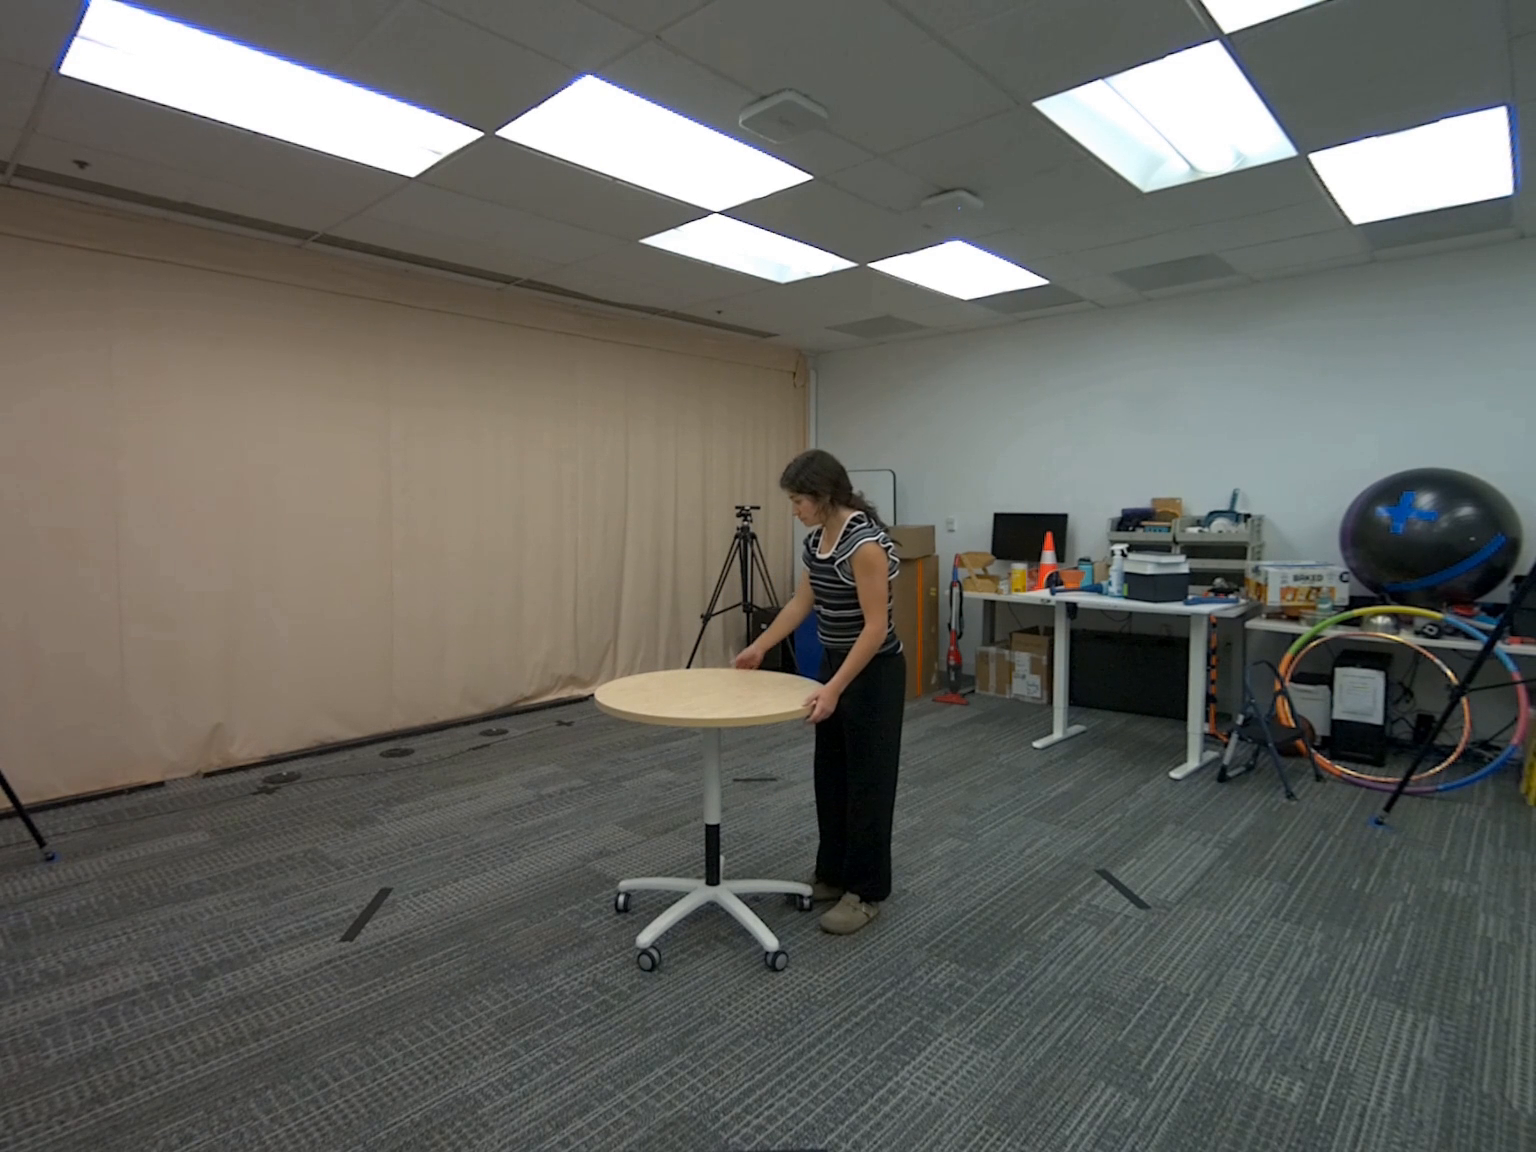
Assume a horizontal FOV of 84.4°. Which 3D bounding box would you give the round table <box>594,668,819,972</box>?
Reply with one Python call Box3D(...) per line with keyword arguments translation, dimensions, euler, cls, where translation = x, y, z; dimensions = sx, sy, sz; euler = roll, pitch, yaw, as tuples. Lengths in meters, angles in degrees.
Box3D(translation=(-0.173, 0.768, 2.787), dimensions=(0.784, 0.785, 0.788), euler=(-1, 4, -2), cls="round table")
